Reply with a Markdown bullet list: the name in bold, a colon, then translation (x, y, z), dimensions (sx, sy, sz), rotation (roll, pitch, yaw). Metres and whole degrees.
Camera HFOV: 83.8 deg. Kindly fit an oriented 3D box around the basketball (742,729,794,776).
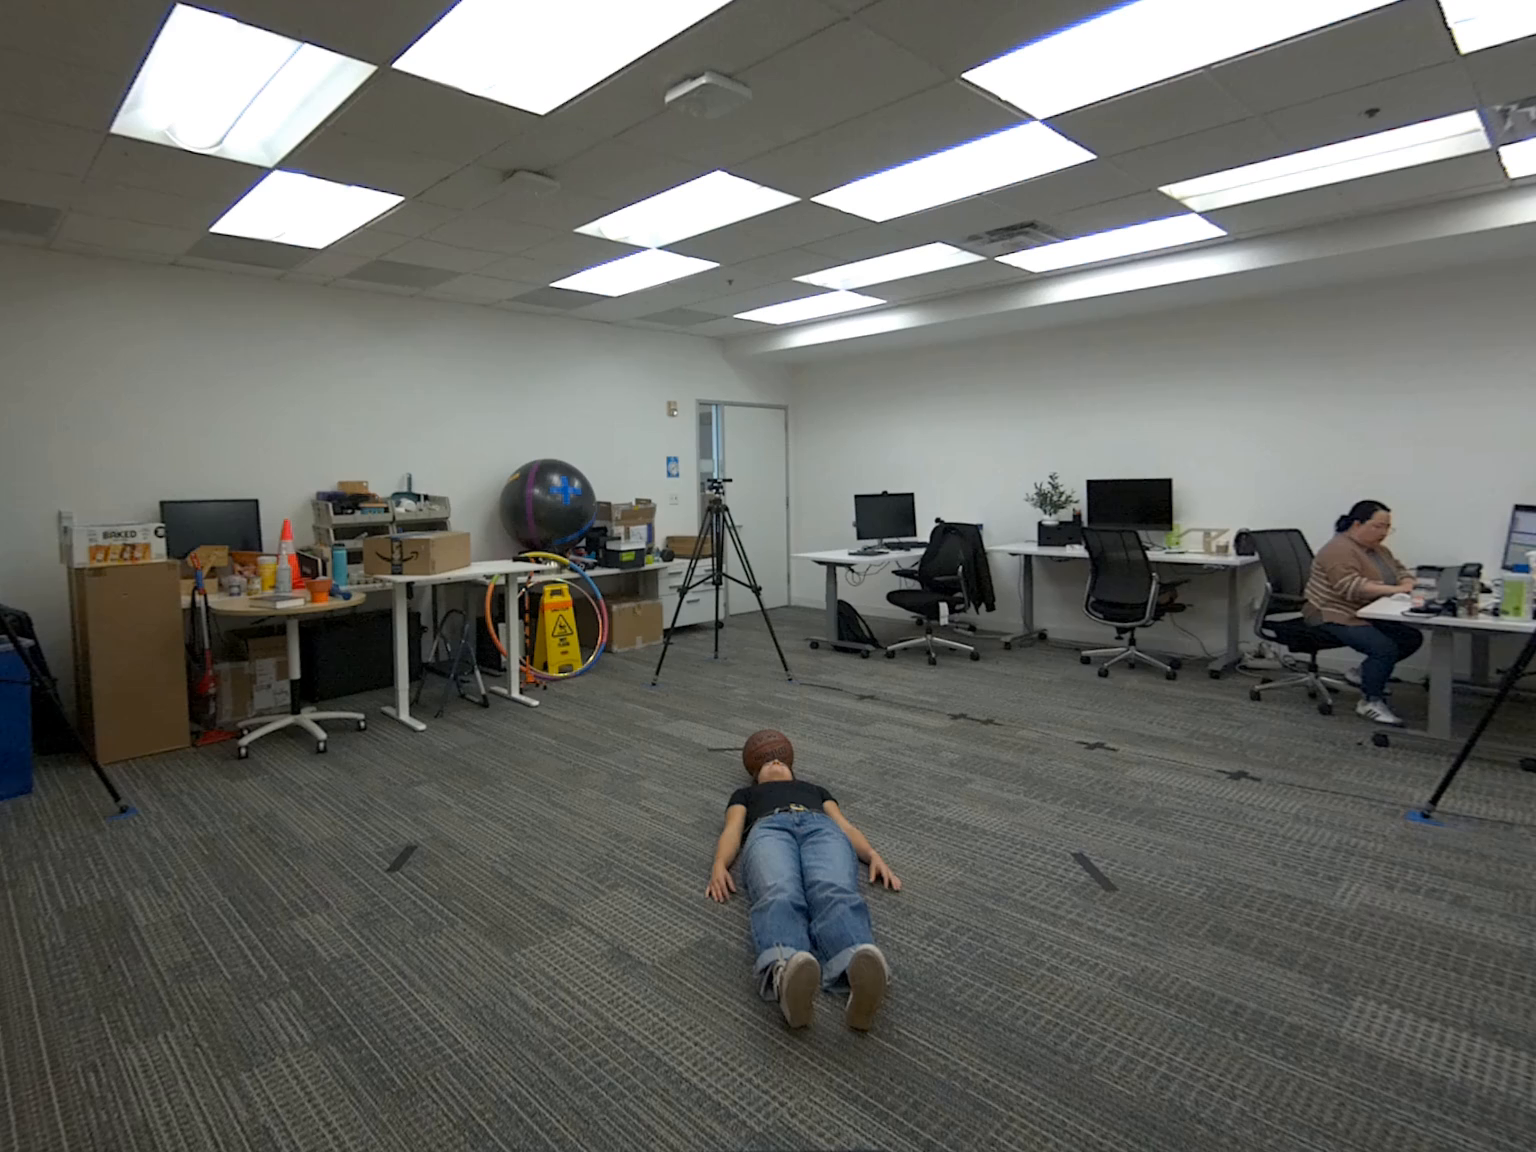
- **basketball**: translation (-0.003, 0.828, 3.951), dimensions (0.236, 0.235, 0.237), rotation (-1, 5, -2)
